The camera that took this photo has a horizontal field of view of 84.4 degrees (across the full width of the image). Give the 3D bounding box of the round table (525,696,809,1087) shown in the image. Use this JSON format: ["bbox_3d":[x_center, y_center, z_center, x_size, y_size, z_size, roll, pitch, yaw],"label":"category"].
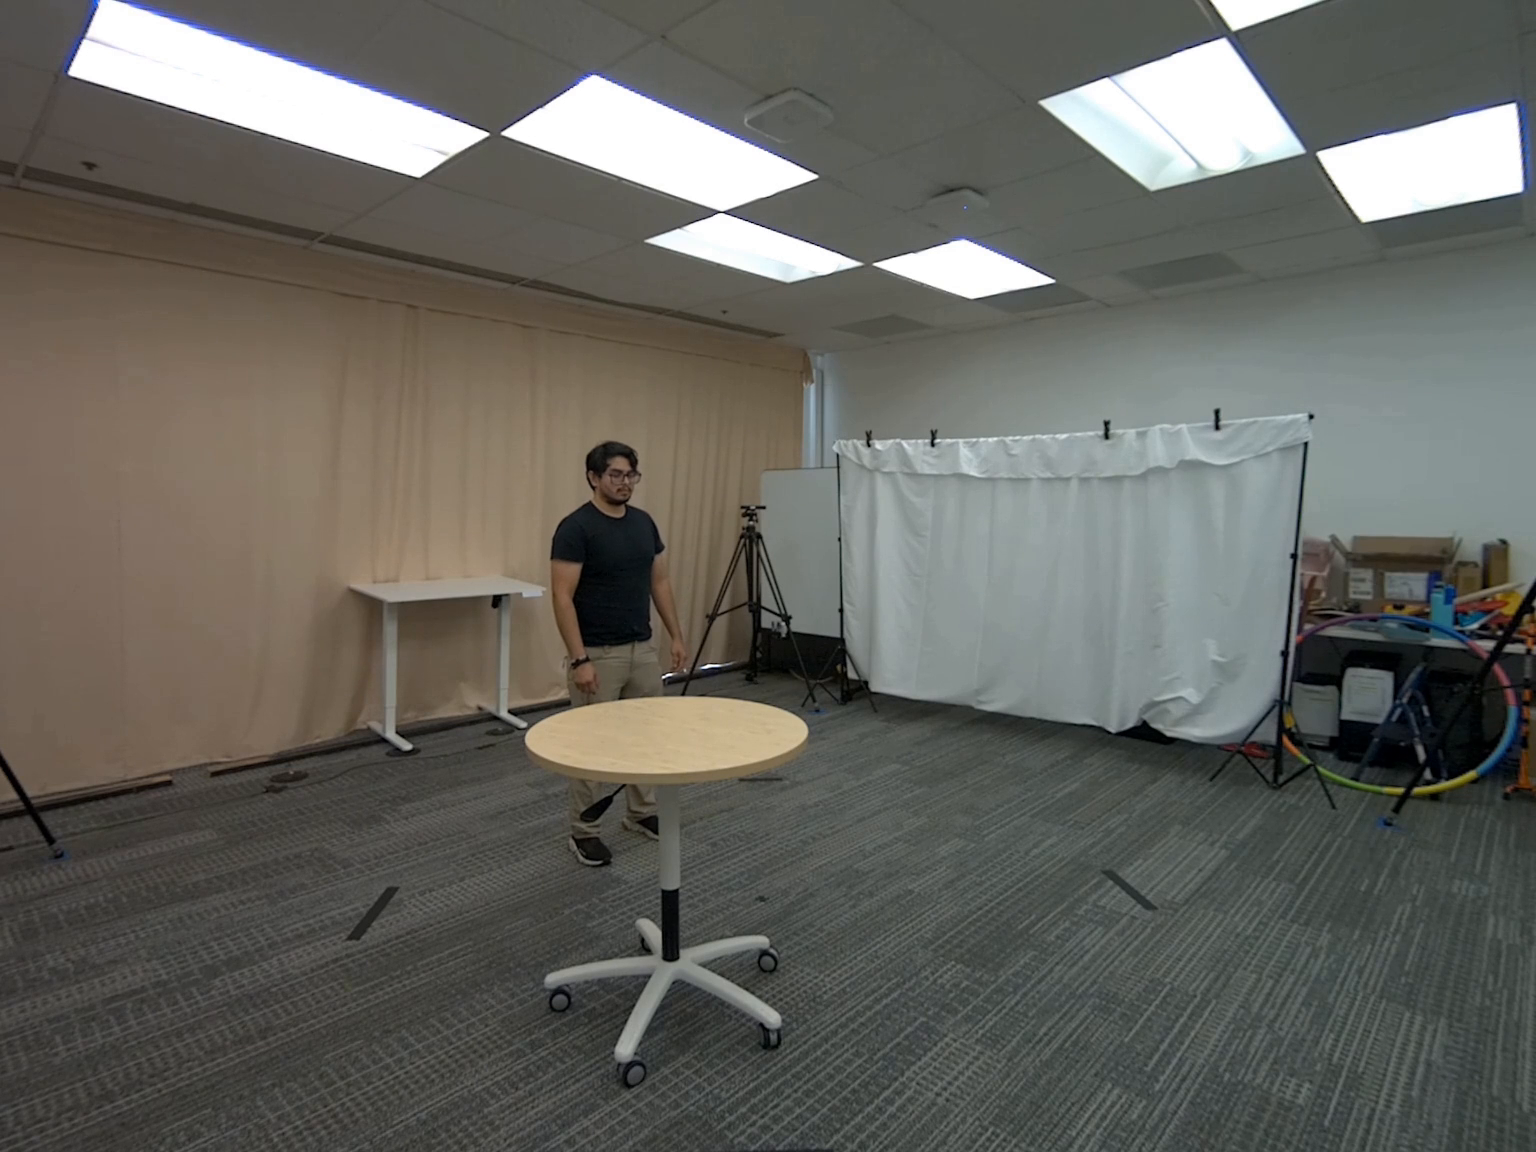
[{"bbox_3d":[-0.272,0.811,2.312,0.784,0.785,0.788,-1,4,-2],"label":"round table"}]
